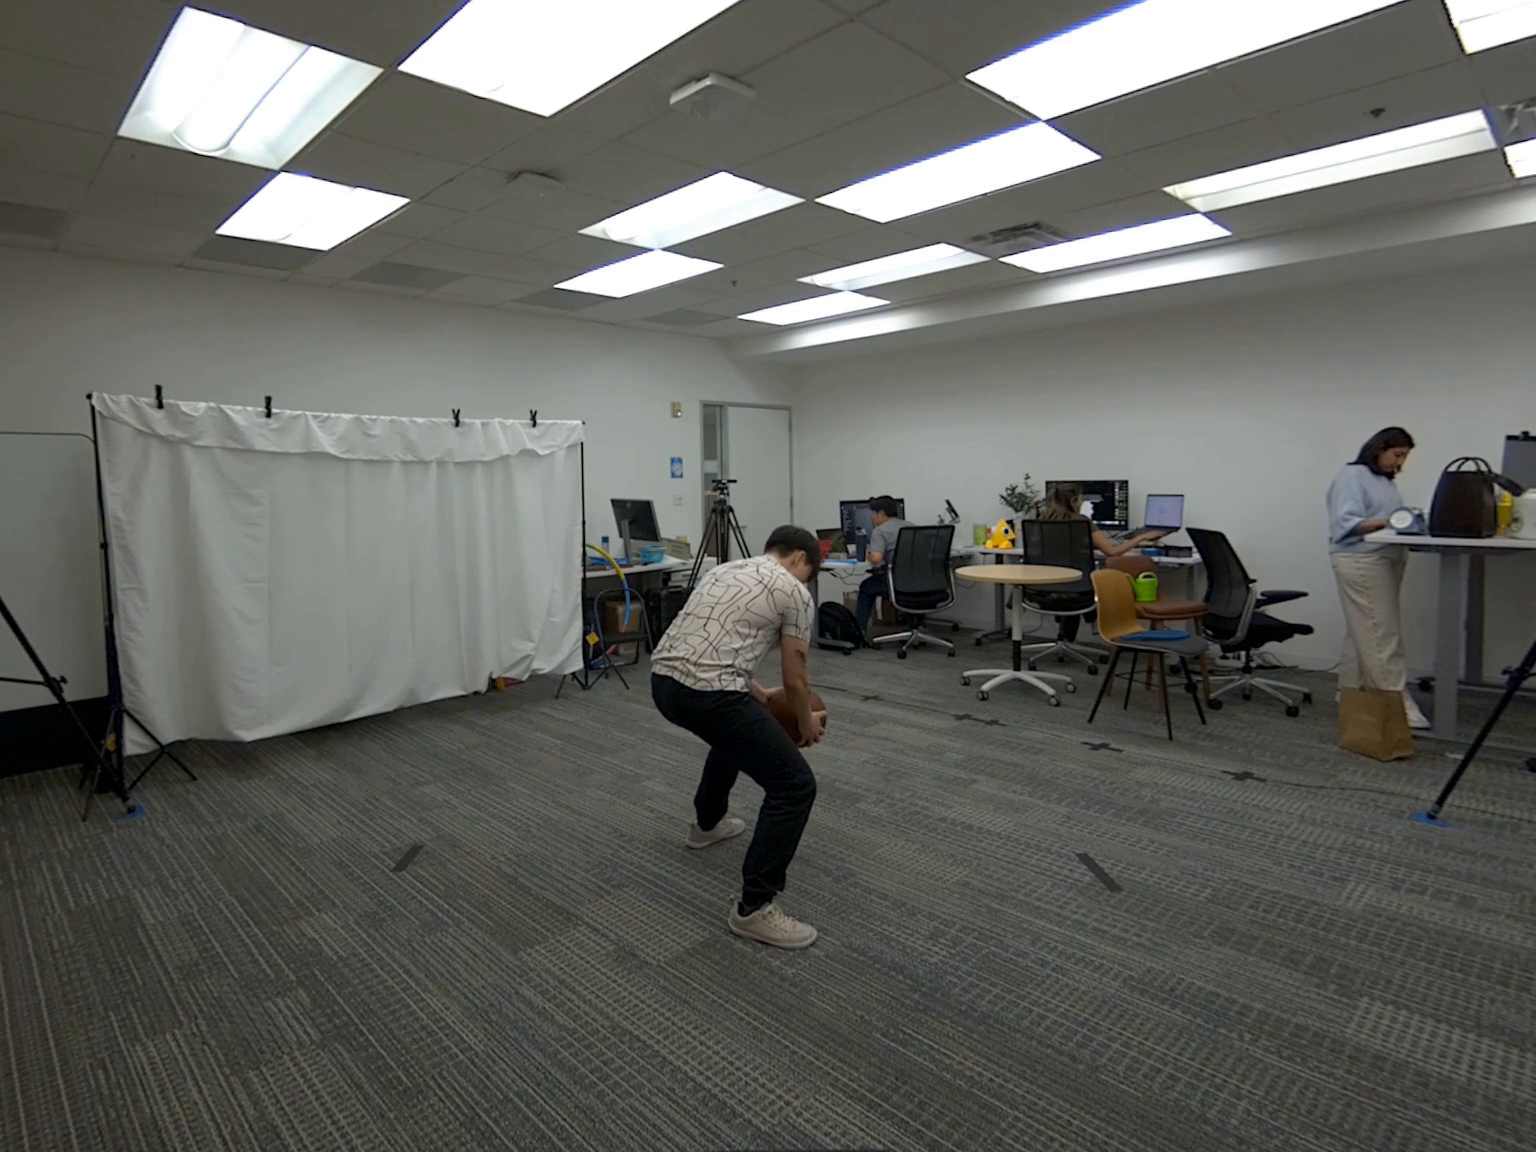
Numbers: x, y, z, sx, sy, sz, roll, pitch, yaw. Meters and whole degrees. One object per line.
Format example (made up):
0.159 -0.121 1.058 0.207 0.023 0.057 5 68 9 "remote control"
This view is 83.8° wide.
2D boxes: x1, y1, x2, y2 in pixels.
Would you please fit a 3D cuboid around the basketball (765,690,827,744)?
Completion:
0.114 0.539 3.314 0.236 0.235 0.237 -1 5 -2 "basketball"
